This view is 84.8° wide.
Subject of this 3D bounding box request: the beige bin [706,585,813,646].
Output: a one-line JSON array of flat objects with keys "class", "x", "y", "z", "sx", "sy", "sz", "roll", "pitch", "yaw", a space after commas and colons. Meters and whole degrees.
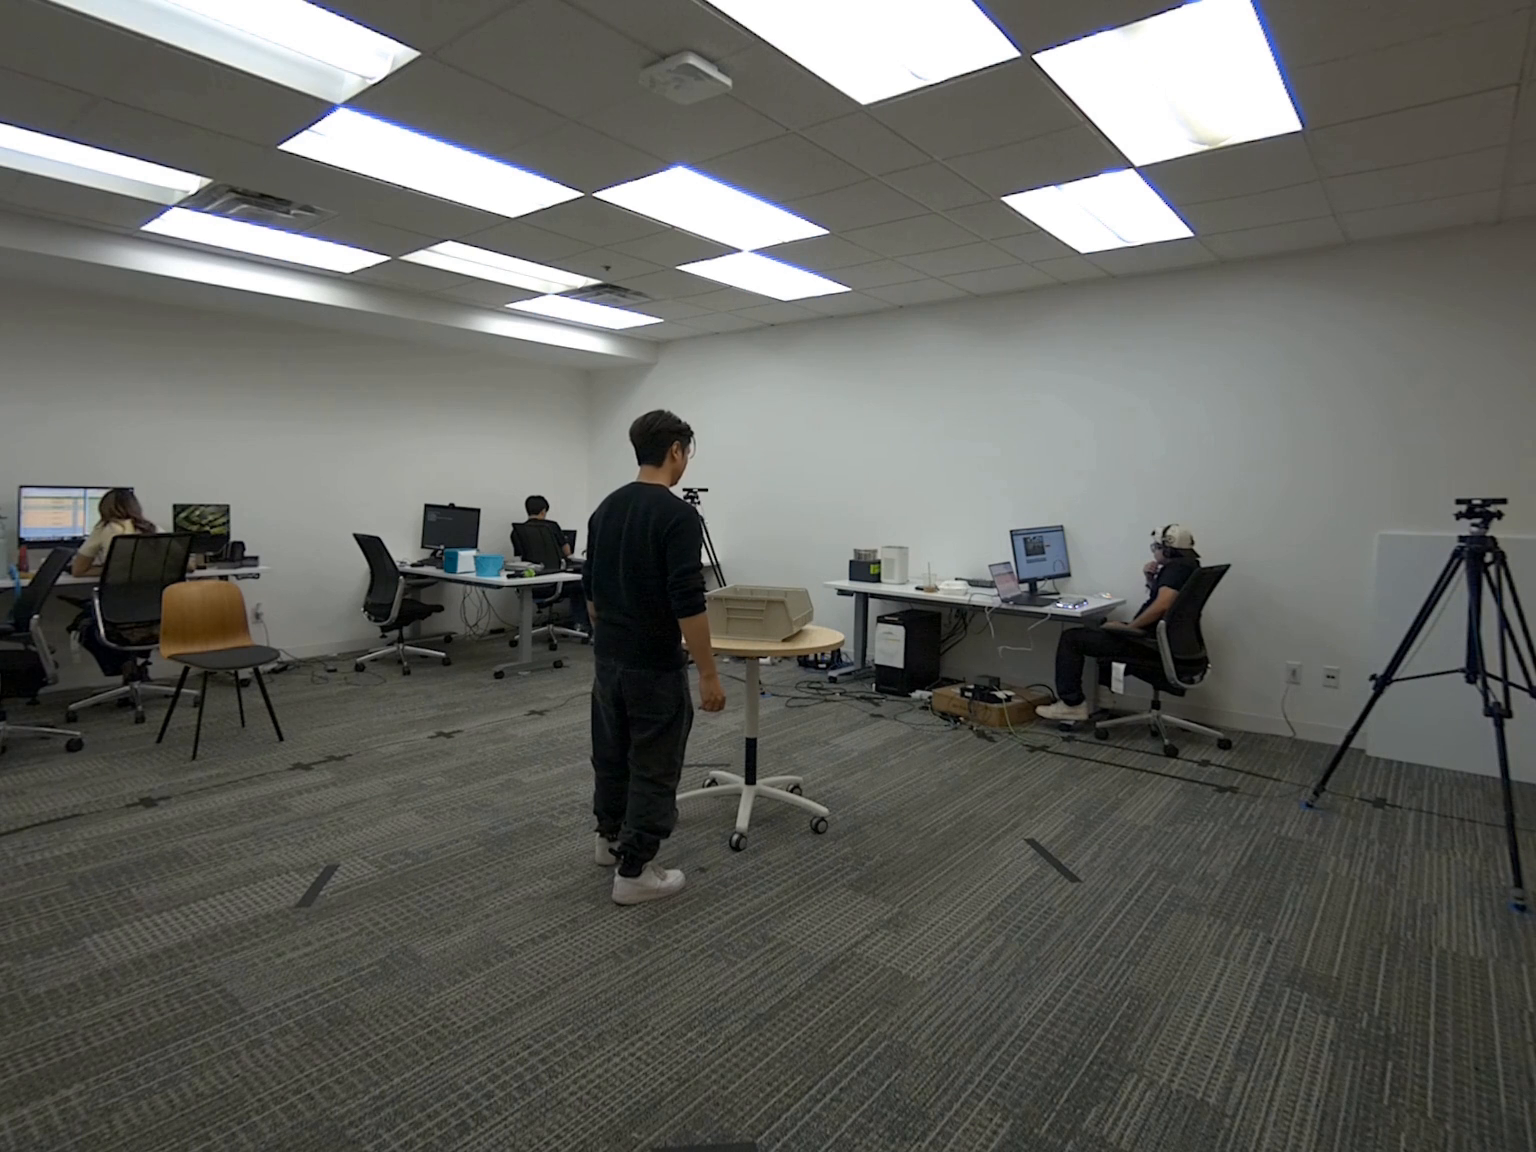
[{"class": "beige bin", "x": -0.041, "y": 0.152, "z": 3.617, "sx": 0.384, "sy": 0.188, "sz": 0.416, "roll": 1, "pitch": 5, "yaw": 16}]
